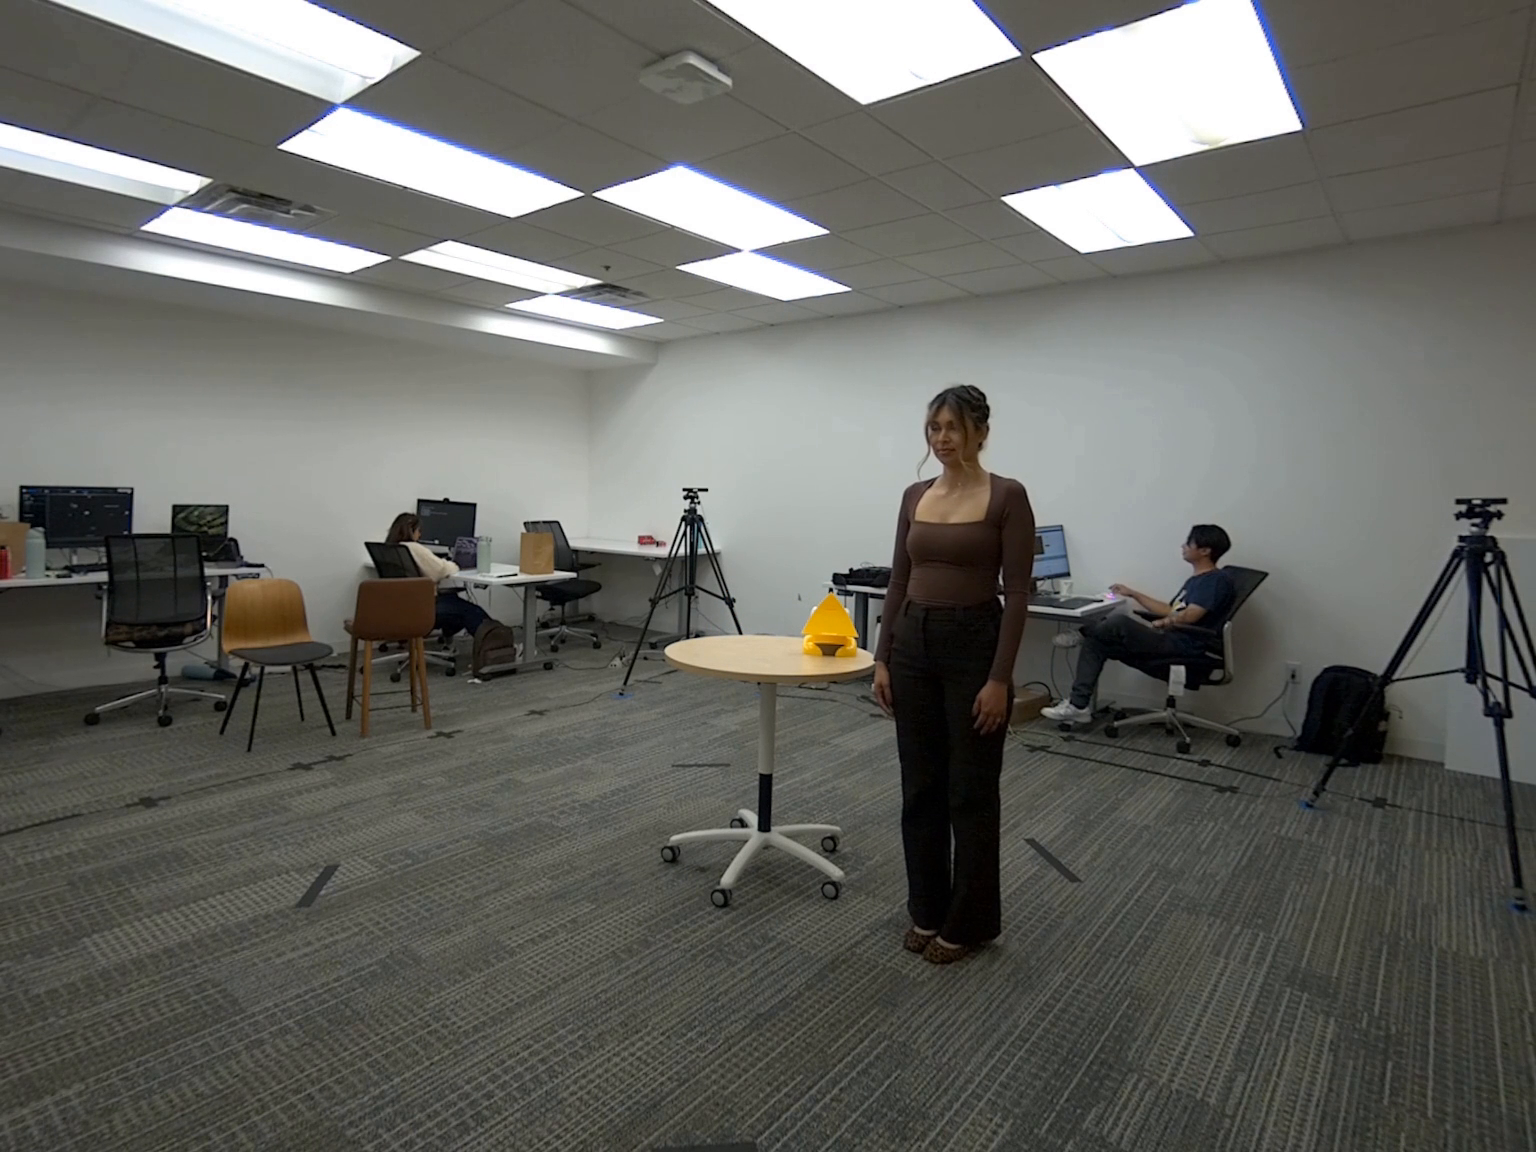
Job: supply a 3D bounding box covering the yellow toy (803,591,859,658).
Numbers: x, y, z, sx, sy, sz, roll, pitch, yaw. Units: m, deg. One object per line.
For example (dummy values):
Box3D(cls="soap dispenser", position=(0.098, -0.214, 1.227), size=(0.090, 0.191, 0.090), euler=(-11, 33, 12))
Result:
Box3D(cls="yellow toy", position=(0.224, 0.167, 3.138), size=(0.206, 0.230, 0.192), euler=(2, 3, 6))
